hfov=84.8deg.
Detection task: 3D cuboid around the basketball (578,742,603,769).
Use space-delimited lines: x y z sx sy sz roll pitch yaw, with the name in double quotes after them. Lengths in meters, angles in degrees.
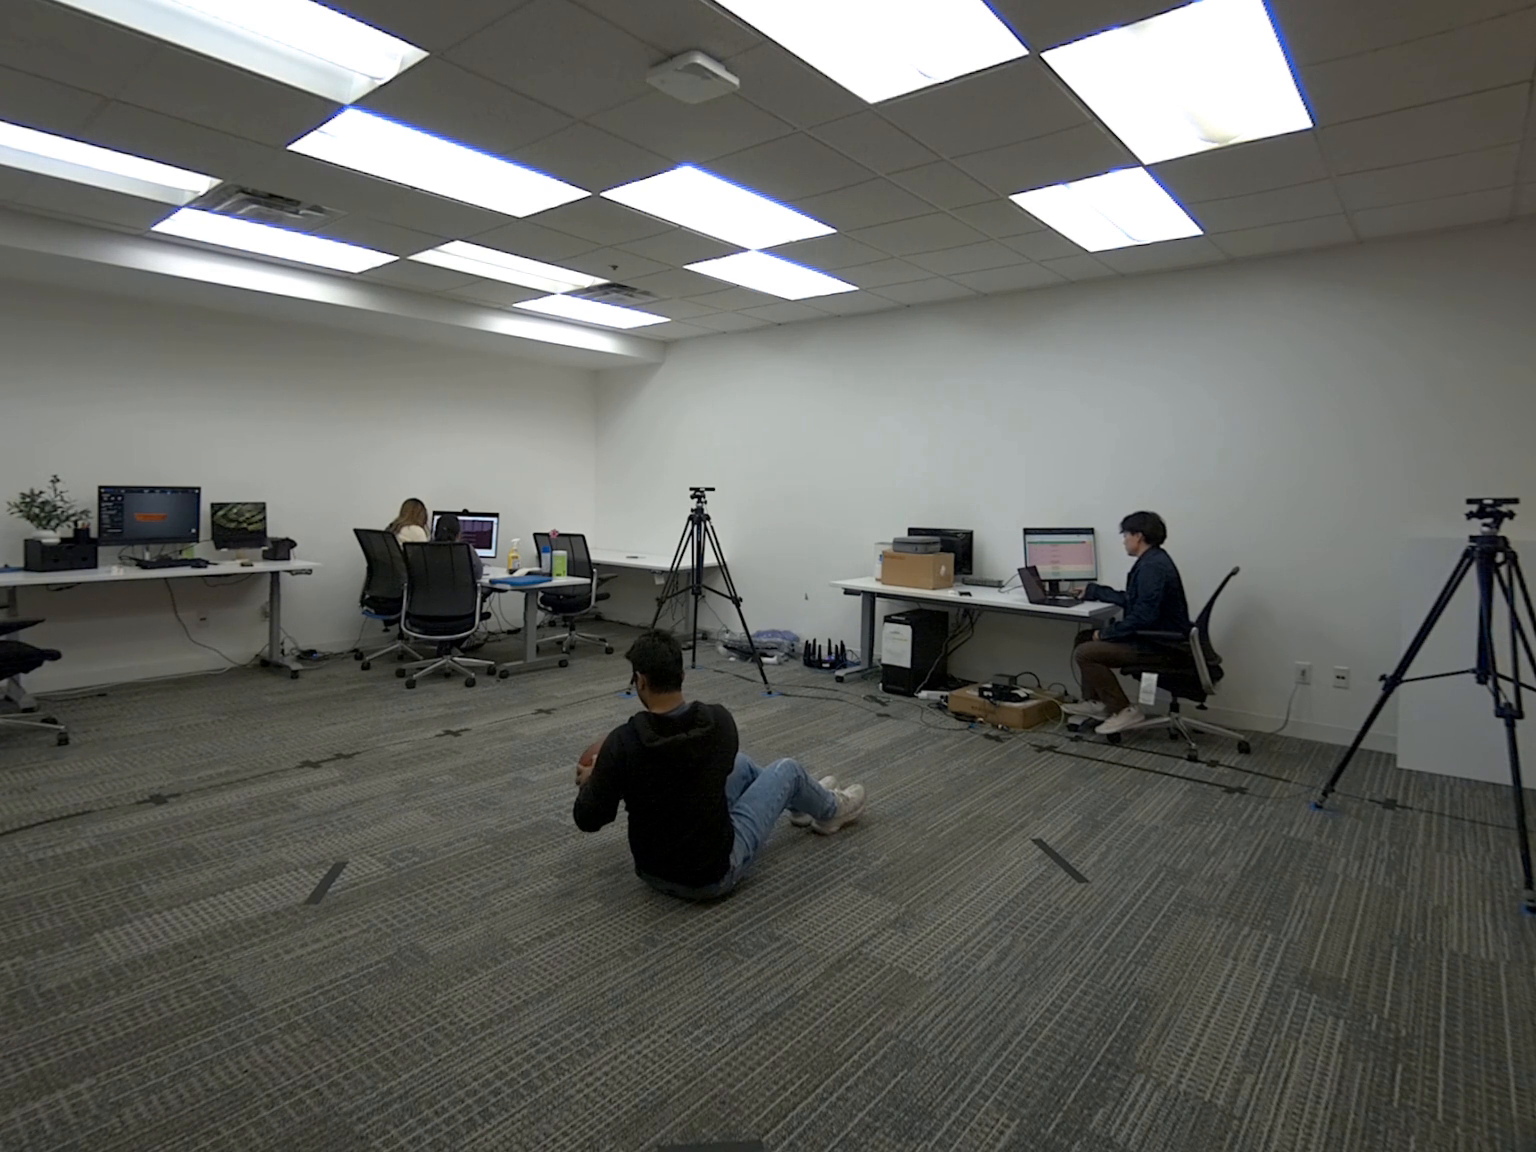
-0.611 0.745 3.278 0.235 0.235 0.237 1 4 -2 "basketball"
